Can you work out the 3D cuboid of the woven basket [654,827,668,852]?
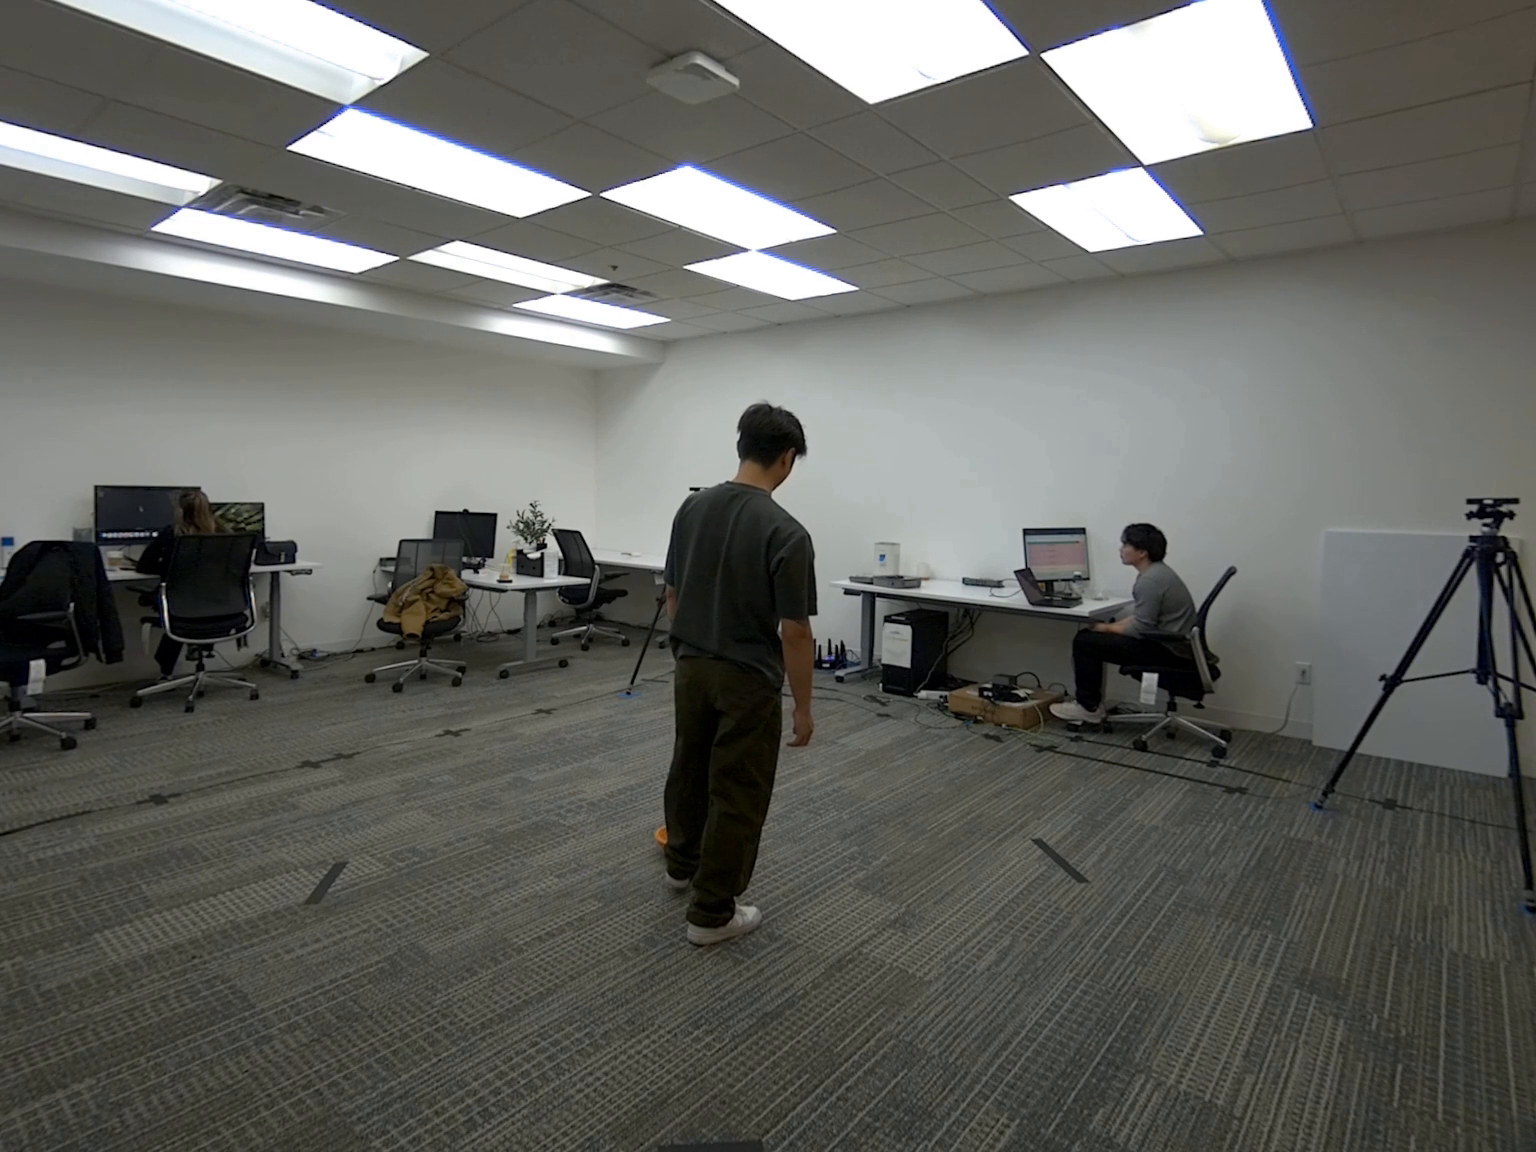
[{"bbox_3d":[-0.277,1.003,3.267,0.341,0.073,0.260,-2,3,-31],"label":"woven basket"}]
